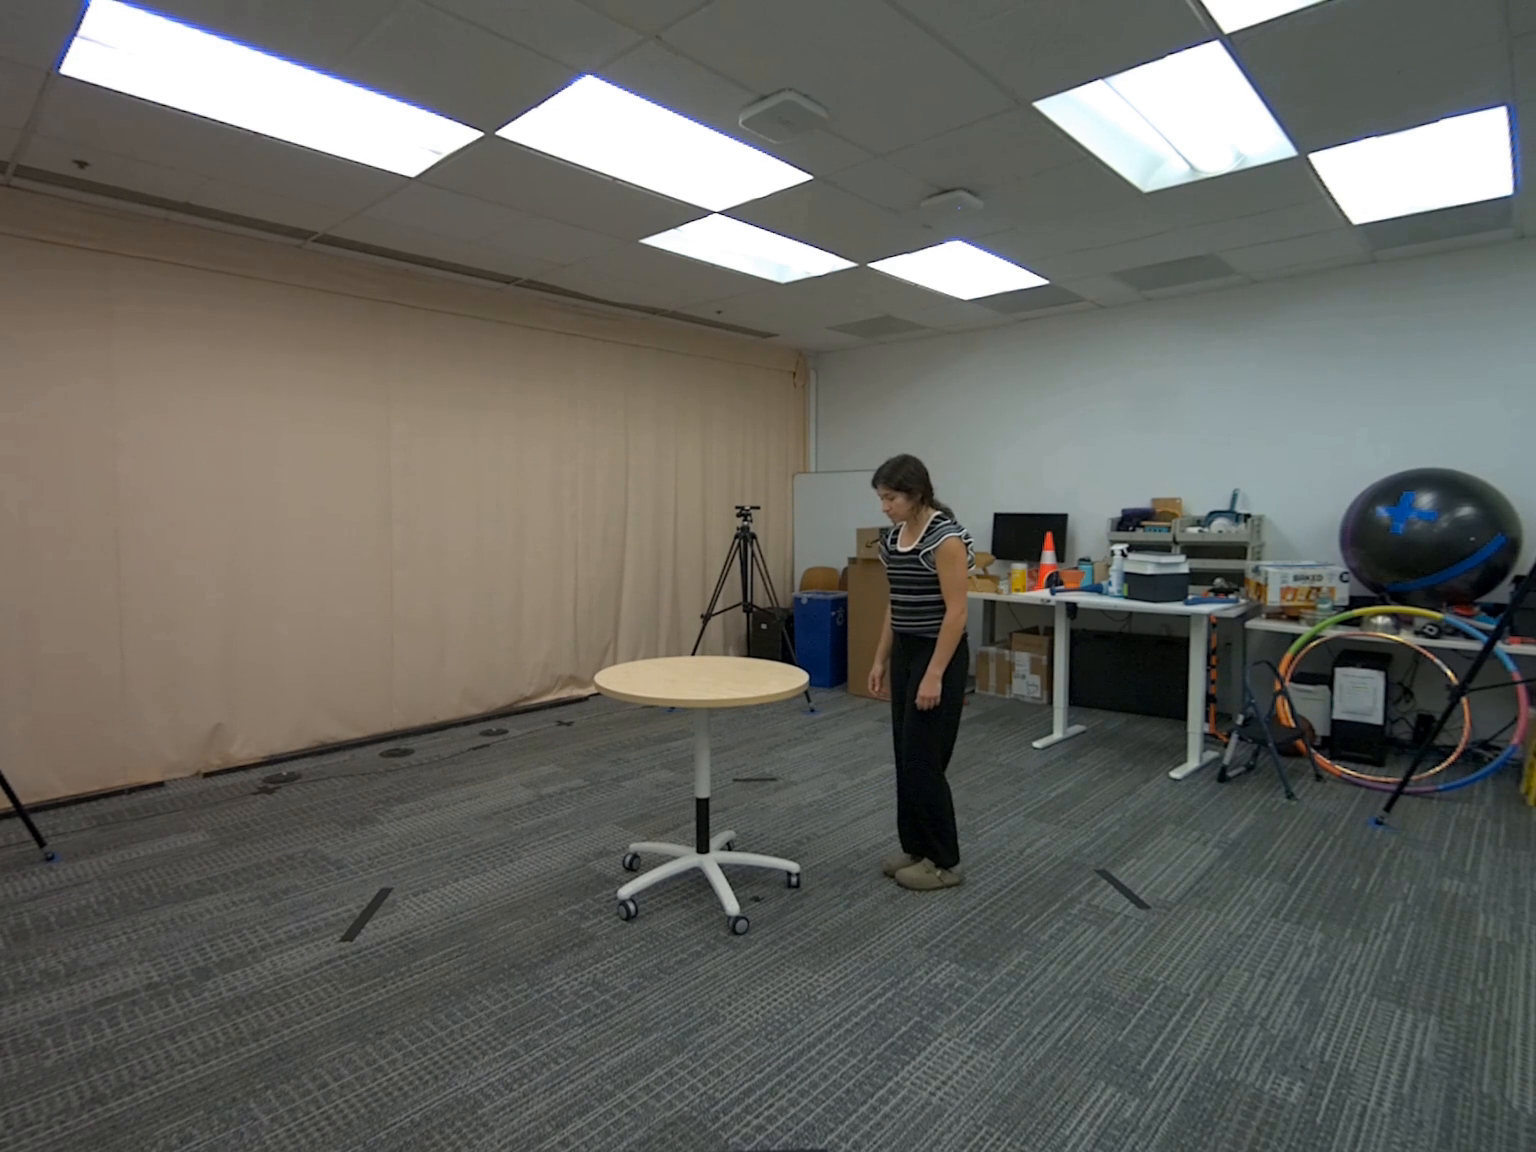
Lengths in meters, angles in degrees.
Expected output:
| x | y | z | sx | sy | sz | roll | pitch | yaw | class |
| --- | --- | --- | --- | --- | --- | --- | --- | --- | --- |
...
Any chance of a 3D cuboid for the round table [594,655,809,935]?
| x | y | z | sx | sy | sz | roll | pitch | yaw | class |
| --- | --- | --- | --- | --- | --- | --- | --- | --- | --- |
| -0.231 | 0.751 | 3.023 | 0.784 | 0.785 | 0.787 | 0 | 3 | -2 | round table |
